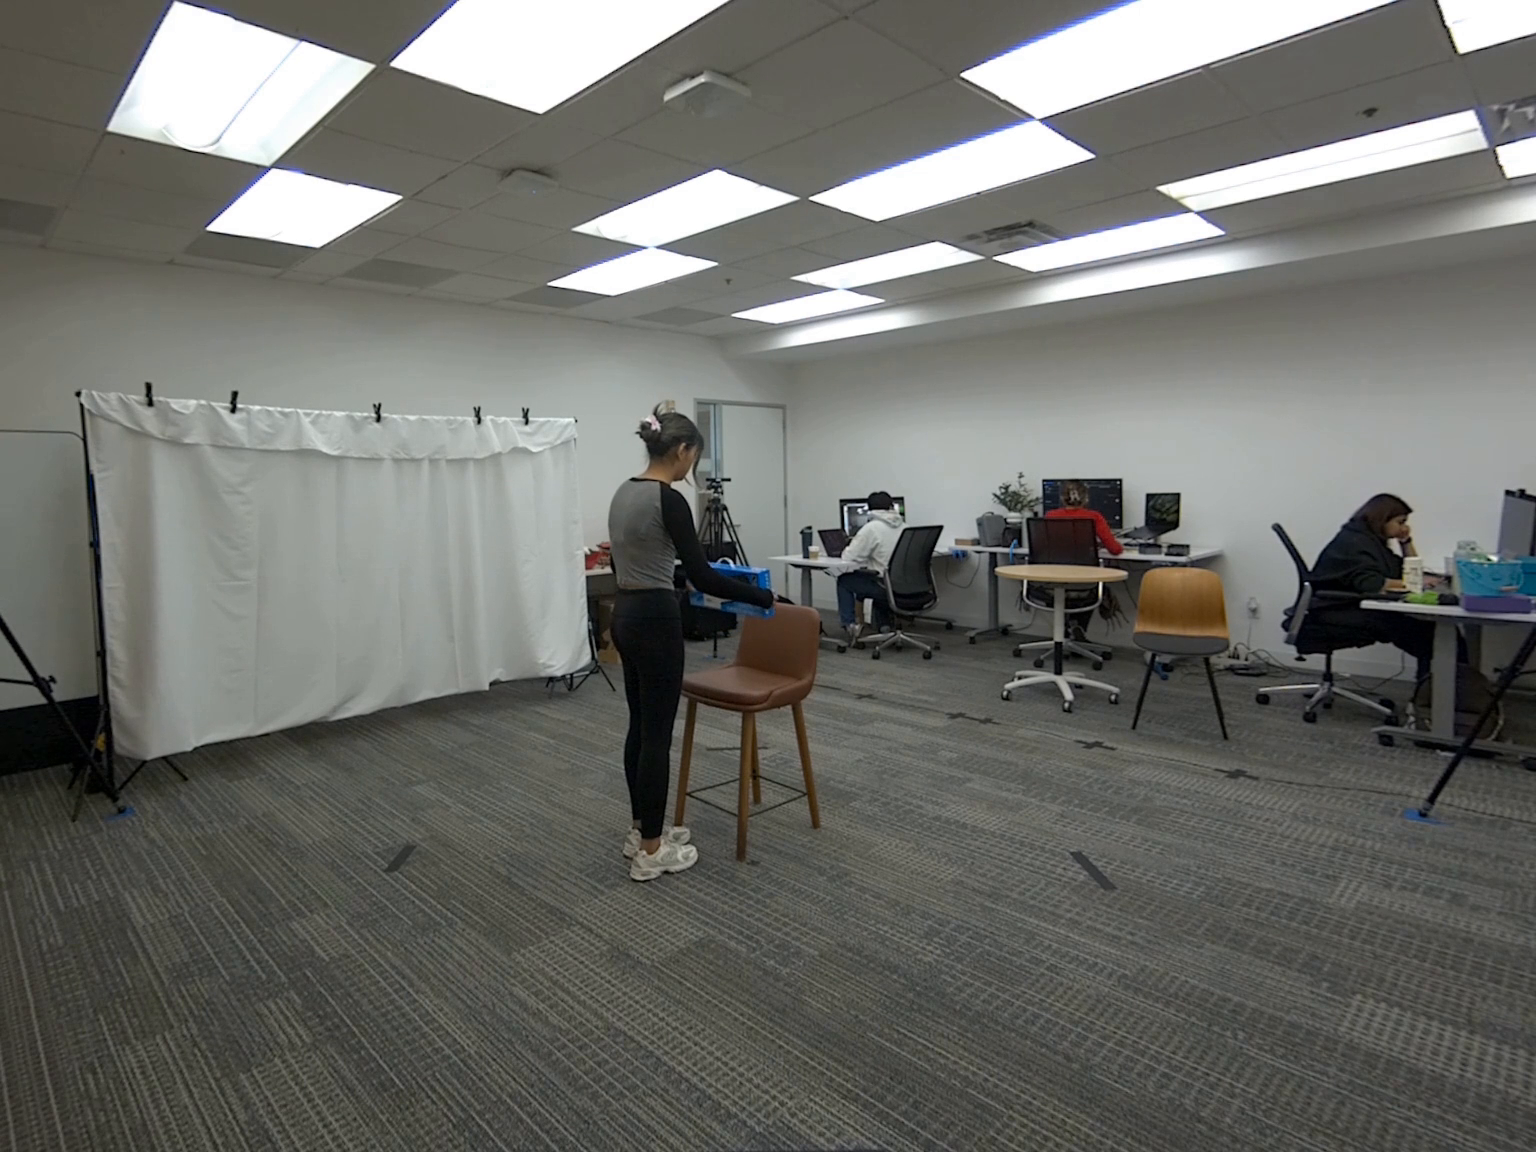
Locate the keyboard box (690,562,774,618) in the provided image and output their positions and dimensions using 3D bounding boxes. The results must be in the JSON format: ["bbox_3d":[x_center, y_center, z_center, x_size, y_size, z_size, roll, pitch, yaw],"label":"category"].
[{"bbox_3d":[-0.157,0.048,3.283,0.058,0.174,0.450,-15,14,-39],"label":"keyboard box"}]
